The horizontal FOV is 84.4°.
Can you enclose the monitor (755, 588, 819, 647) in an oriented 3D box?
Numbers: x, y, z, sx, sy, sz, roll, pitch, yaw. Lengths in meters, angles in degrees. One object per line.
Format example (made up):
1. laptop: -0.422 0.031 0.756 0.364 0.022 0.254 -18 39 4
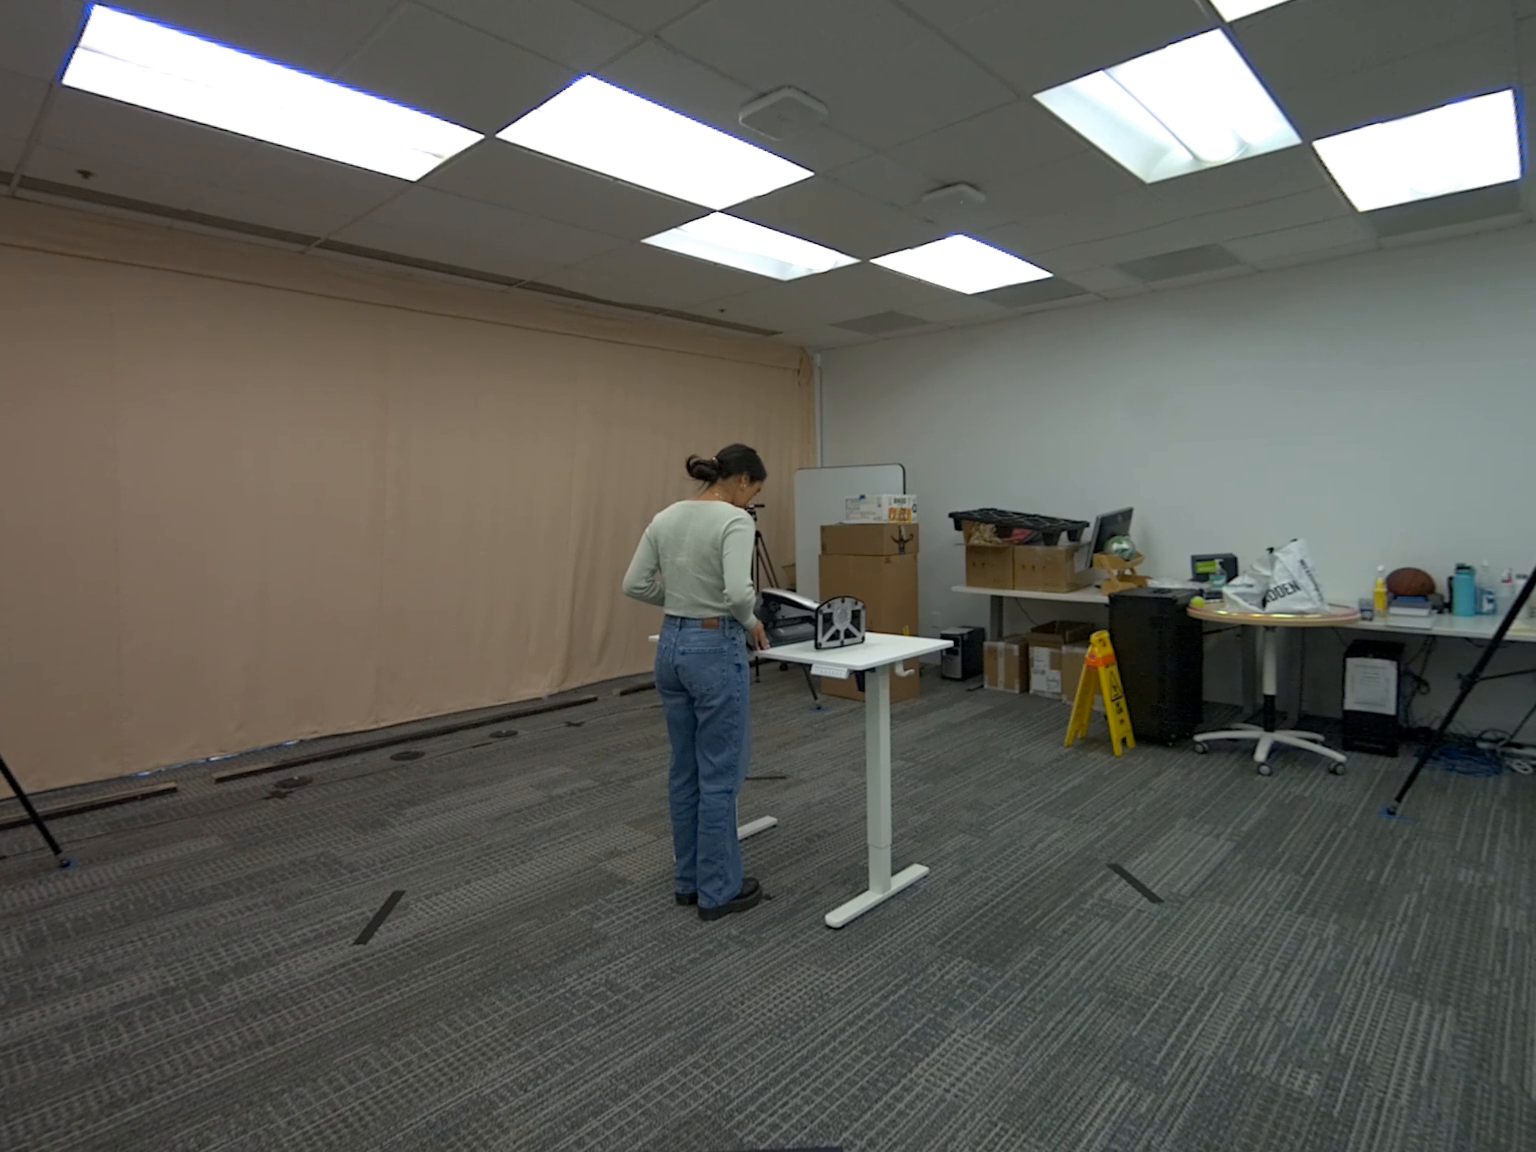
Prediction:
1. monitor: 0.100 0.143 3.136 0.522 0.187 0.541 1 7 -45
